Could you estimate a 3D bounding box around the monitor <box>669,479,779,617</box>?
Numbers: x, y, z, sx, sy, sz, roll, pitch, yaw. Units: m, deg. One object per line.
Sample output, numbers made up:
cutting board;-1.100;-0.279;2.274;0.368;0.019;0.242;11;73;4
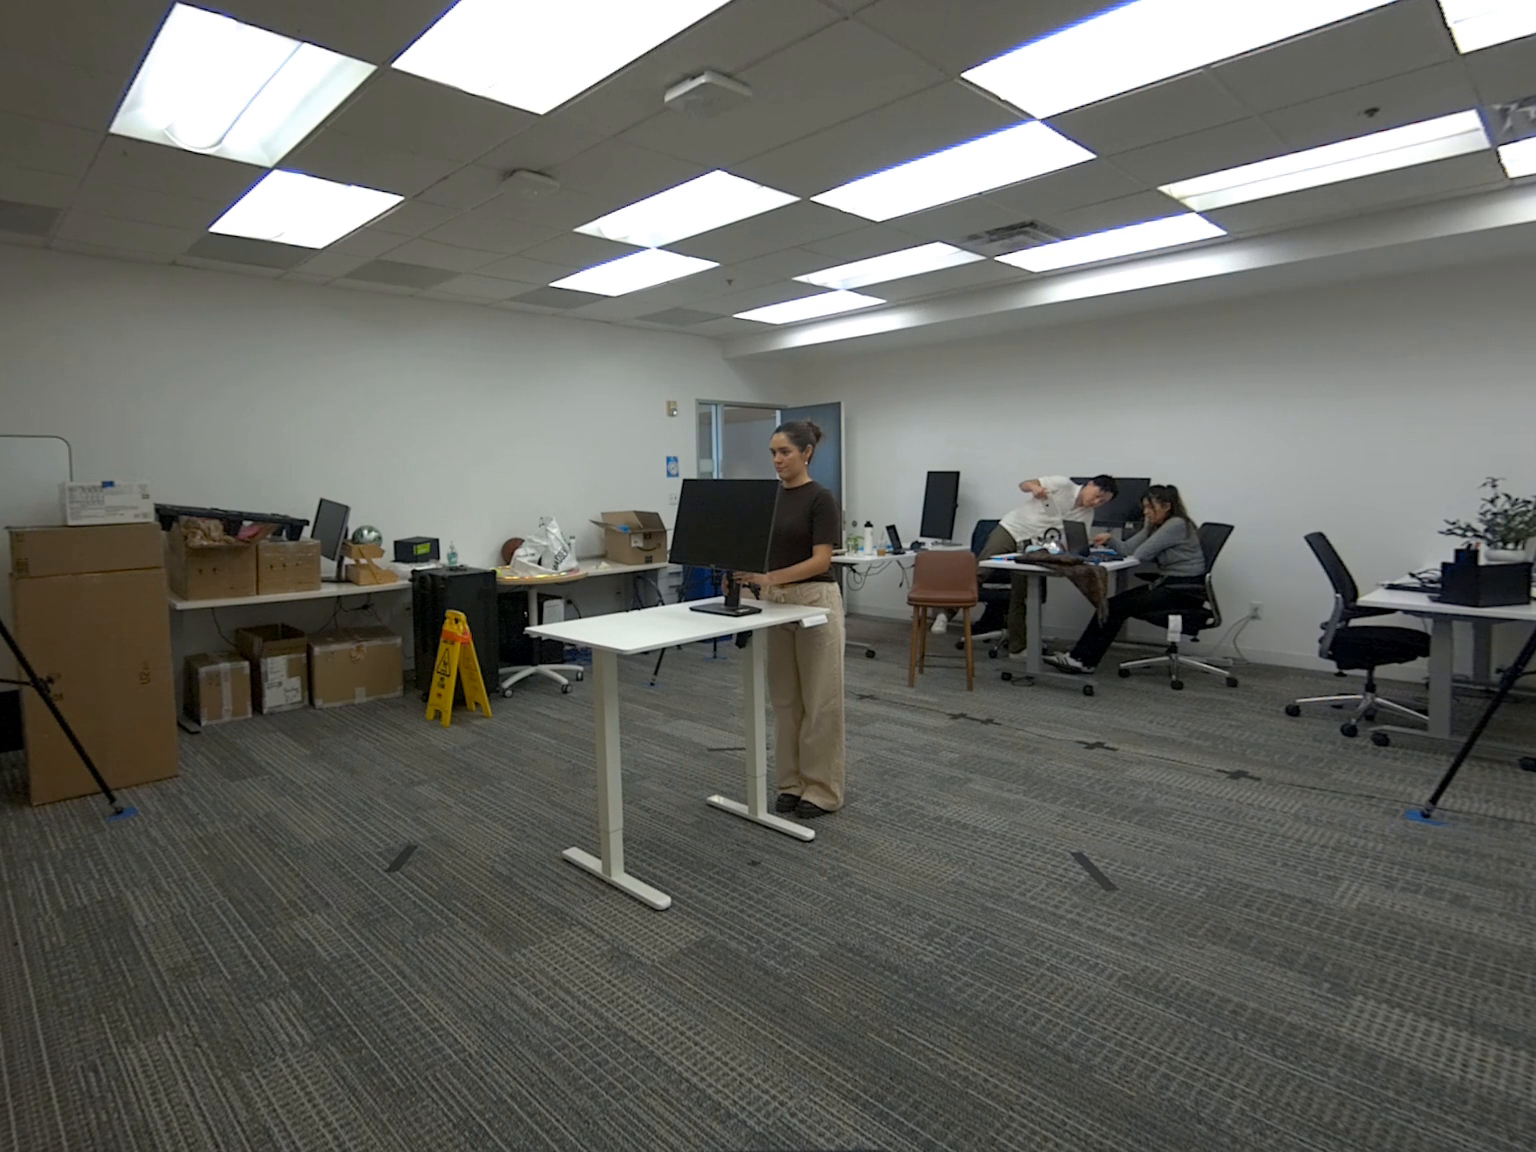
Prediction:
monitor;-0.164;-0.118;3.316;0.547;0.512;0.170;6;11;43
